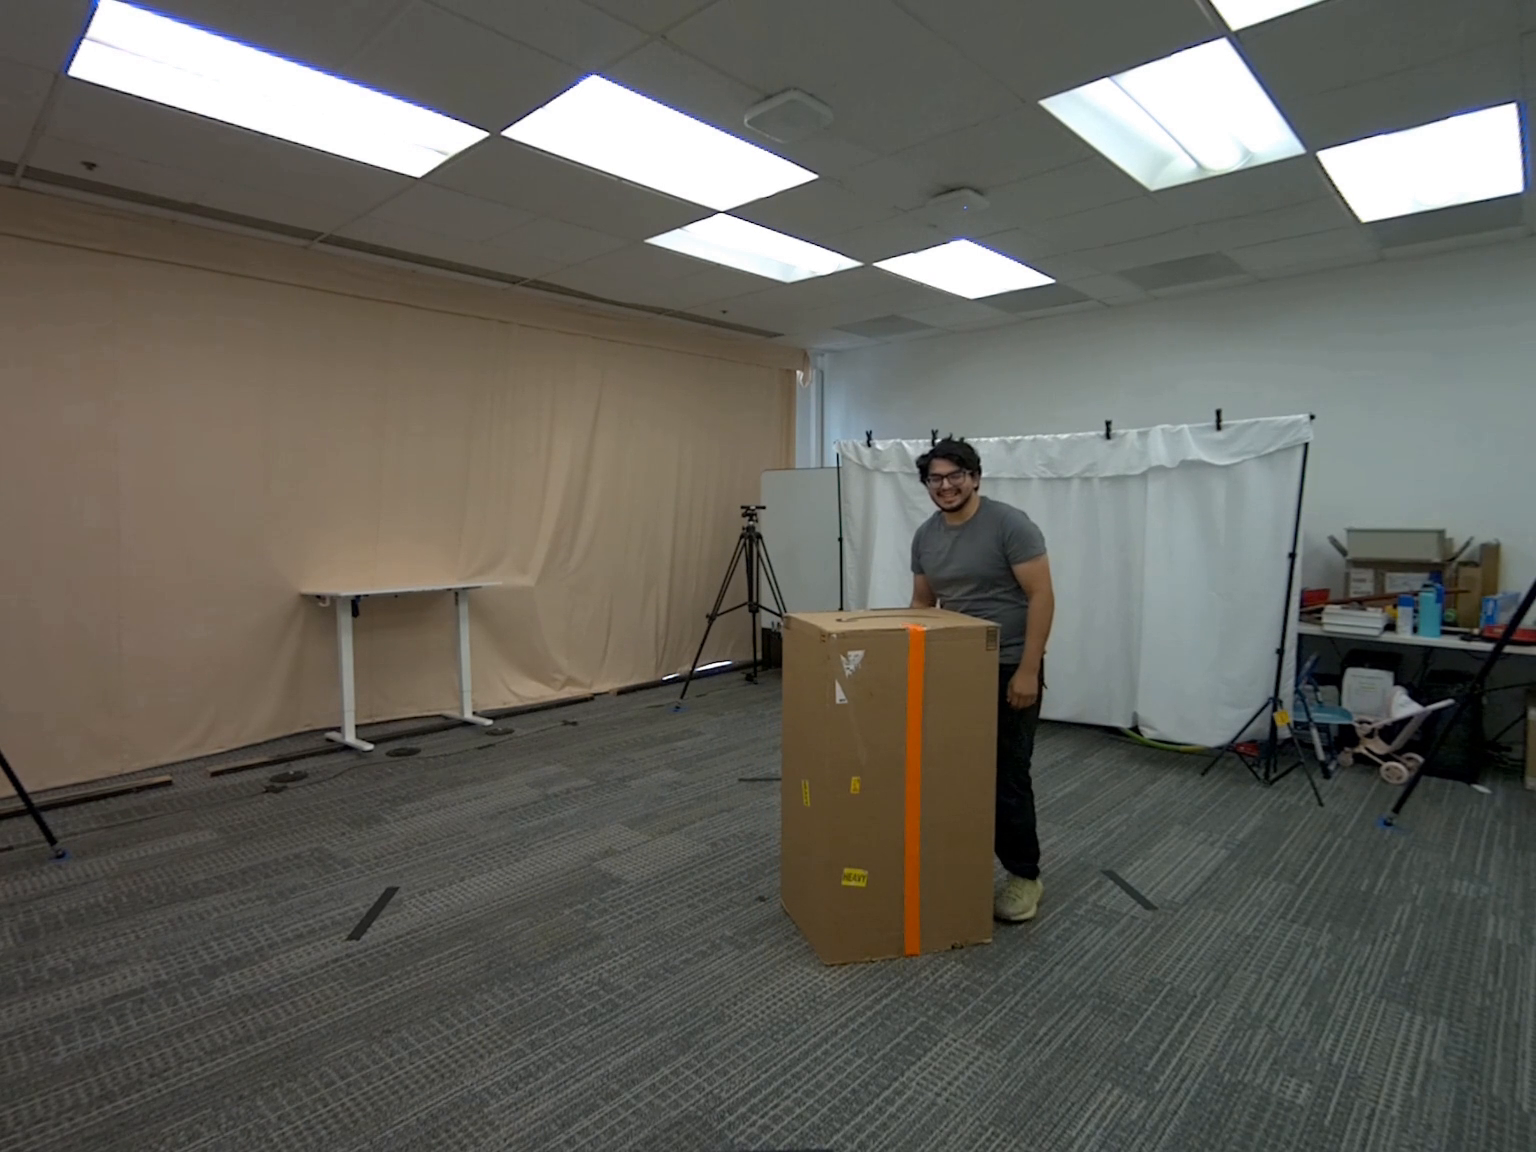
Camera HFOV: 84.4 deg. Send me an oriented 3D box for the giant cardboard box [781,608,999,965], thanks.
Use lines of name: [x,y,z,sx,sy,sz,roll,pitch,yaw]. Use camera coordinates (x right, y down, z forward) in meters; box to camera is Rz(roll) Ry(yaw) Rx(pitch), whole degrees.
giant cardboard box: [0.385,0.653,2.780,0.574,1.025,0.455,-1,3,-17]
